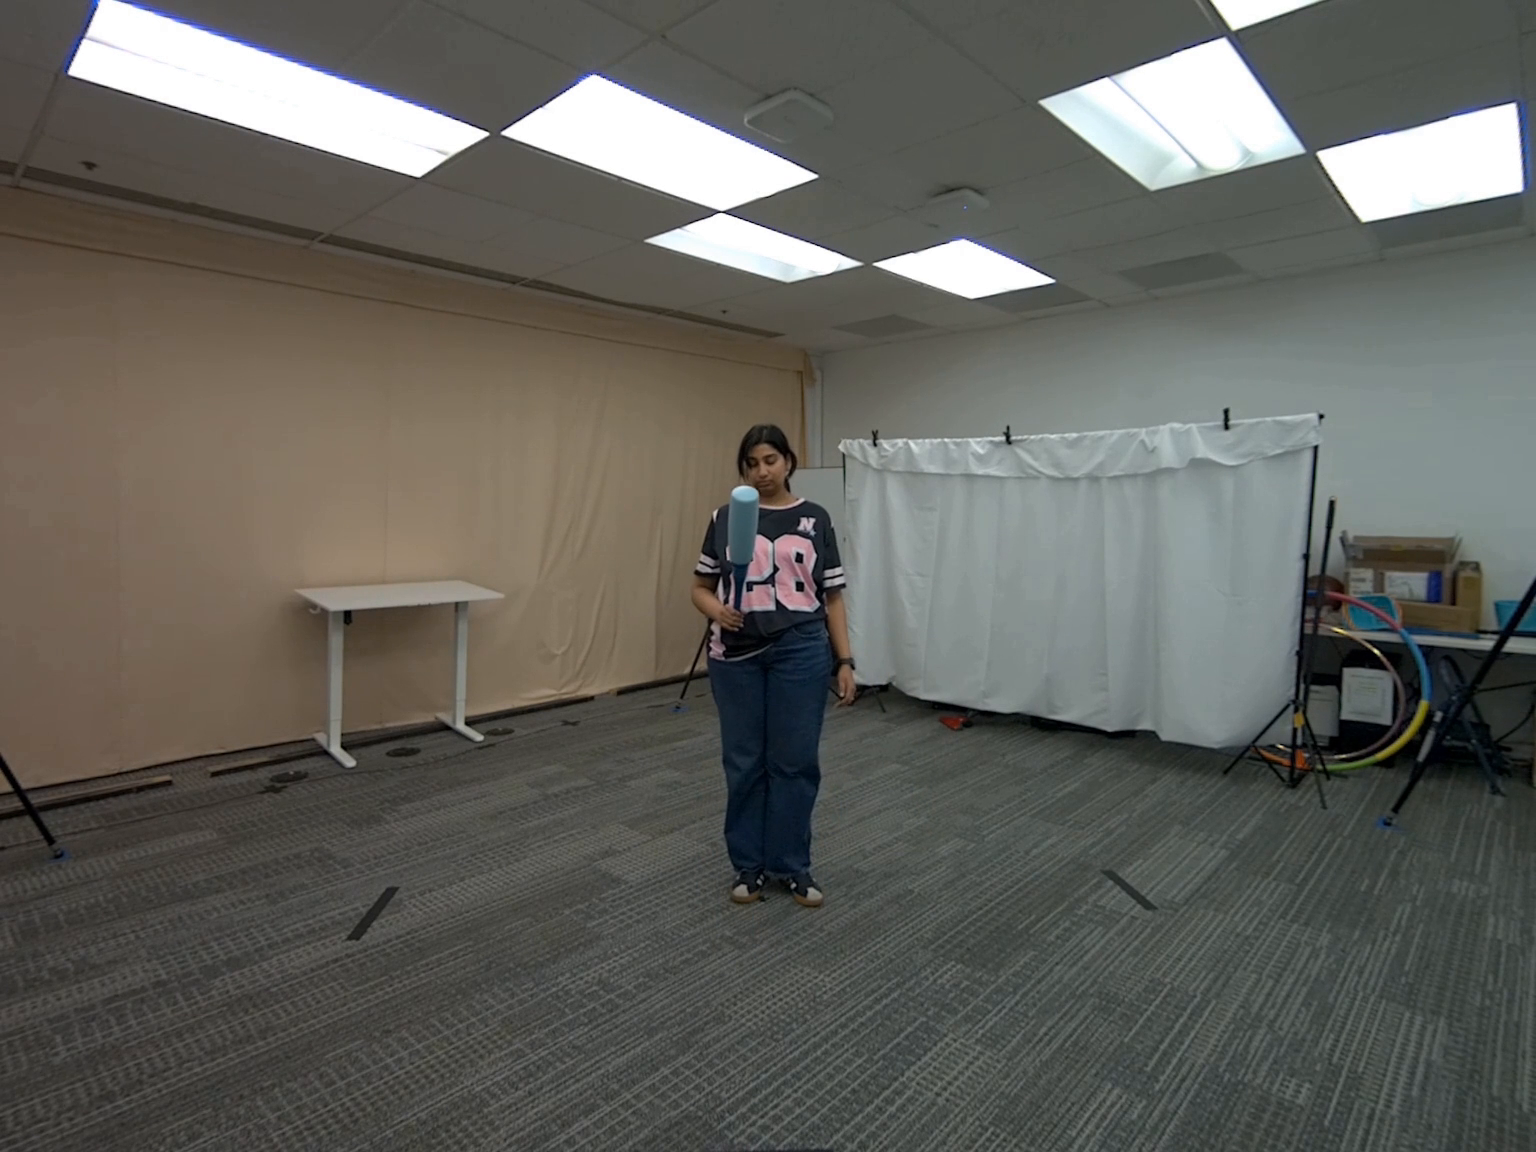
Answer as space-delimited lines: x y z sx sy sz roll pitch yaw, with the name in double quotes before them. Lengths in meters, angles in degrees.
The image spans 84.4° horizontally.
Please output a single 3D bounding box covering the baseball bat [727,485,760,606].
"baseball bat" -0.082 -0.039 2.638 0.089 0.534 0.091 3 39 -4
